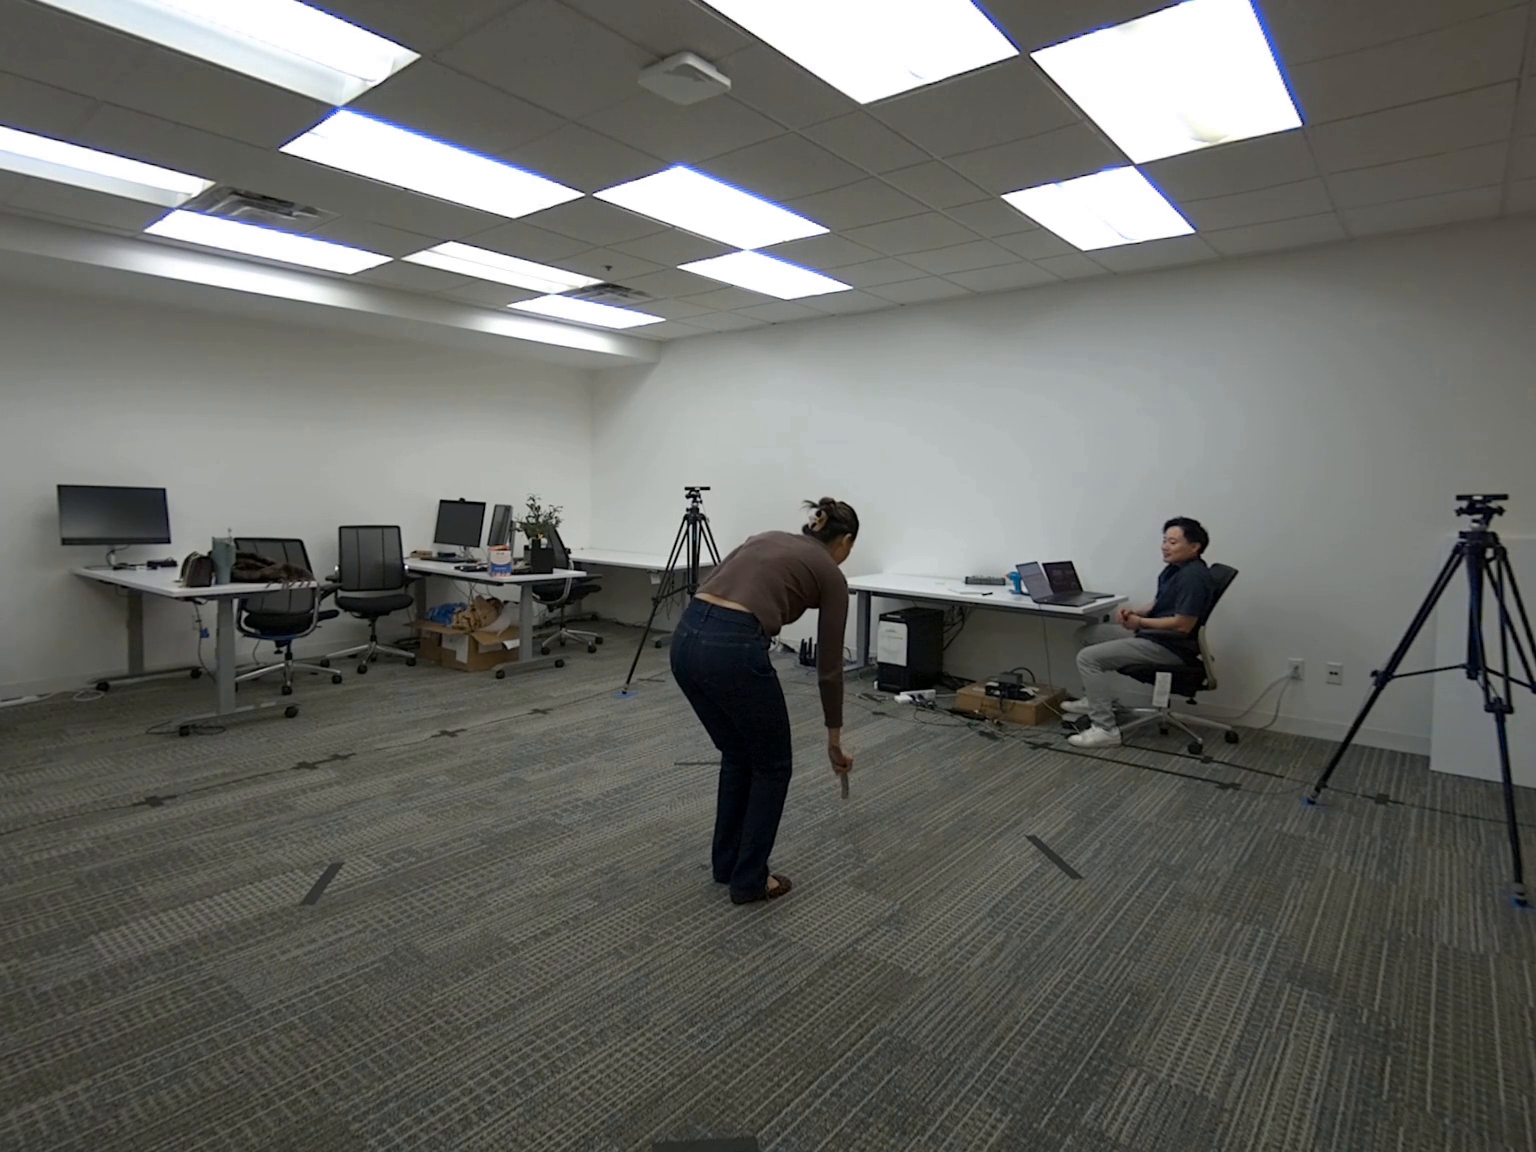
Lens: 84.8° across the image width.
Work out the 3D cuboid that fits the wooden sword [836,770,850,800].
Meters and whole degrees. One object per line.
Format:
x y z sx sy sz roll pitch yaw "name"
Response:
0.268 0.758 3.223 0.024 0.051 0.997 27 -20 15 "wooden sword"
